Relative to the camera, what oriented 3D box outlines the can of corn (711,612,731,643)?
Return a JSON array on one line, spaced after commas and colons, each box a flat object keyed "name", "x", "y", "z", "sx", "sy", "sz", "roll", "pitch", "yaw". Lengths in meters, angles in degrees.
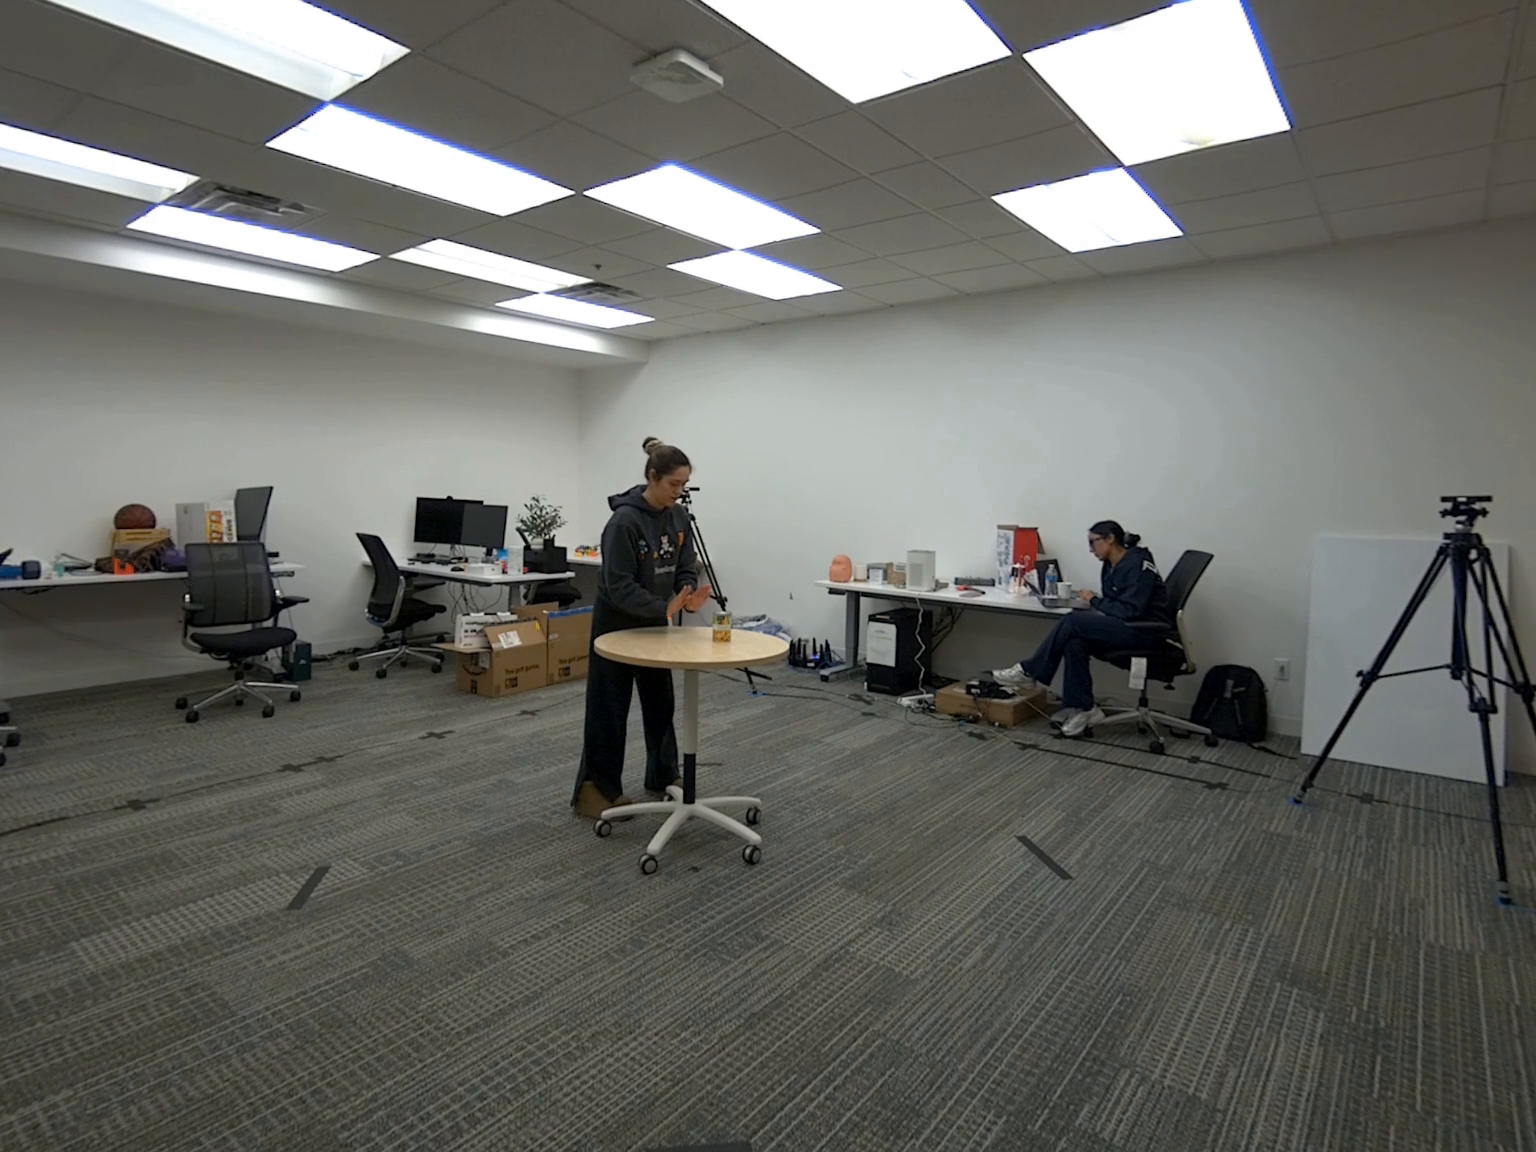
[{"name": "can of corn", "x": -0.188, "y": 0.200, "z": 3.407, "sx": 0.074, "sy": 0.111, "sz": 0.074, "roll": 1, "pitch": 3, "yaw": -2}]
